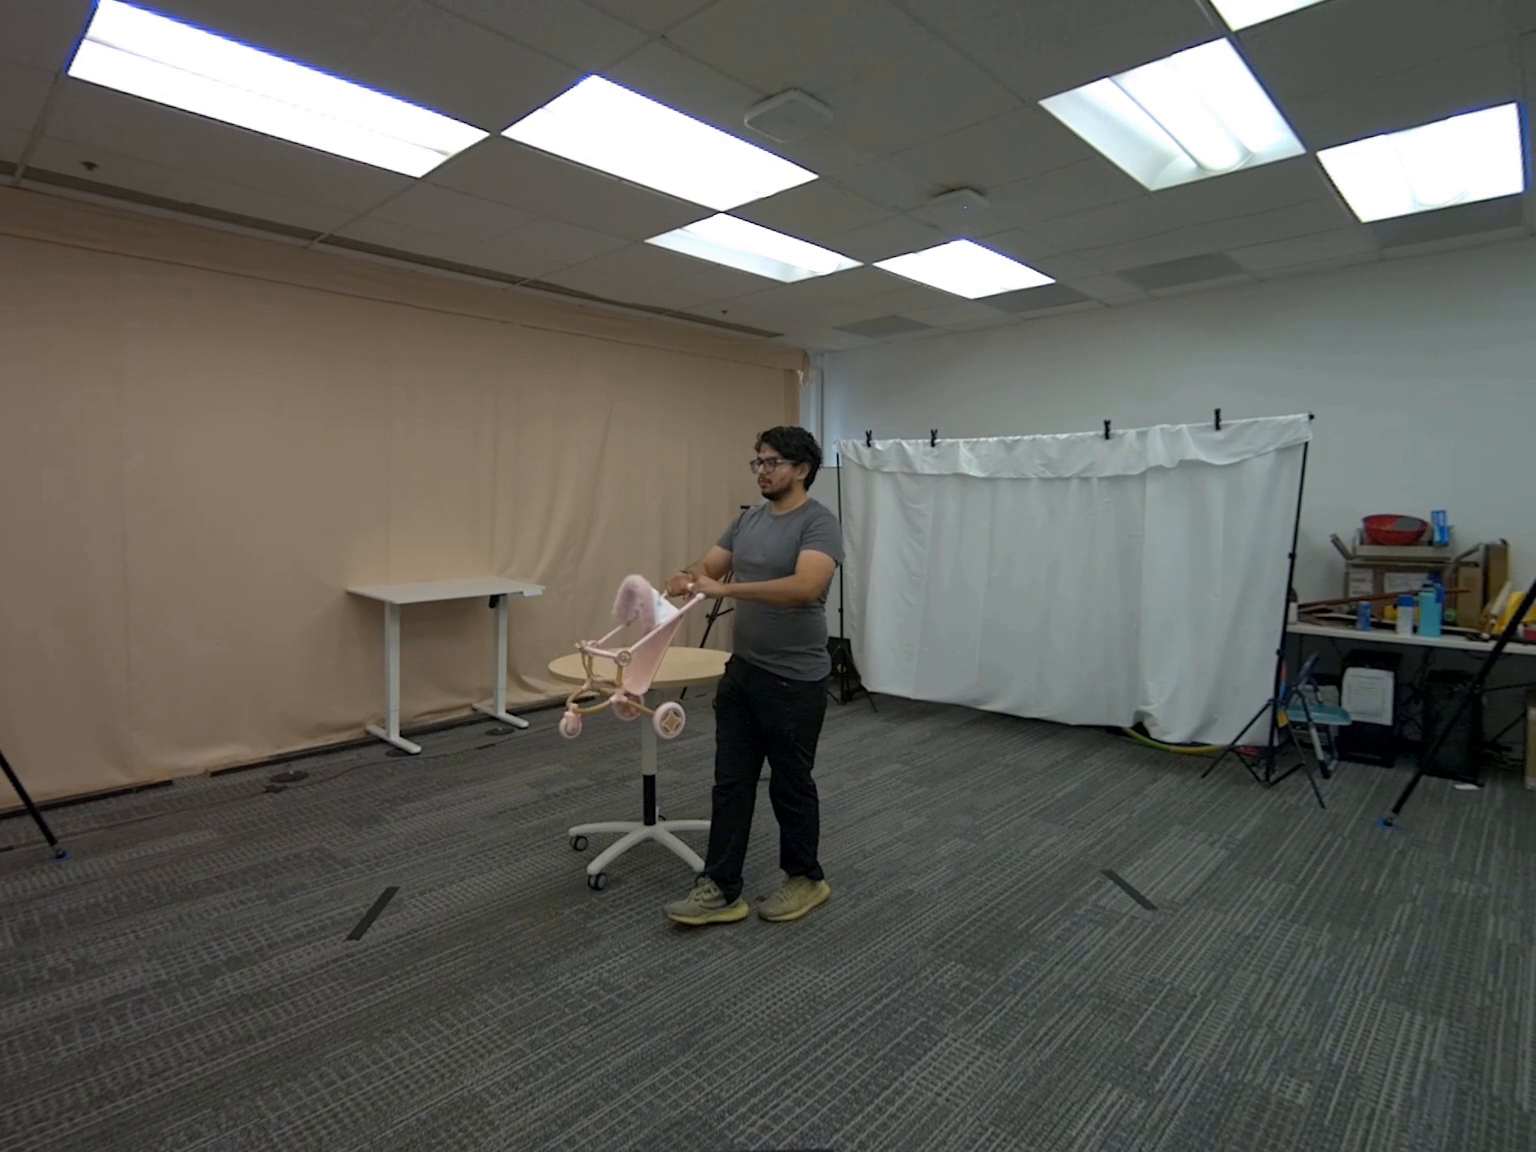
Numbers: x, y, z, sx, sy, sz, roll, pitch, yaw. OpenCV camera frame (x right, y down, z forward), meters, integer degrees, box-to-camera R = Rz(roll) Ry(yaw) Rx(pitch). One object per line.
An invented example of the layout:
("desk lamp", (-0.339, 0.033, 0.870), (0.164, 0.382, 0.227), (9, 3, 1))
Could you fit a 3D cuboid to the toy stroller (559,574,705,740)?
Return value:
("toy stroller", (-0.411, 0.246, 2.504), (0.330, 0.536, 0.290), (18, -8, -32))
